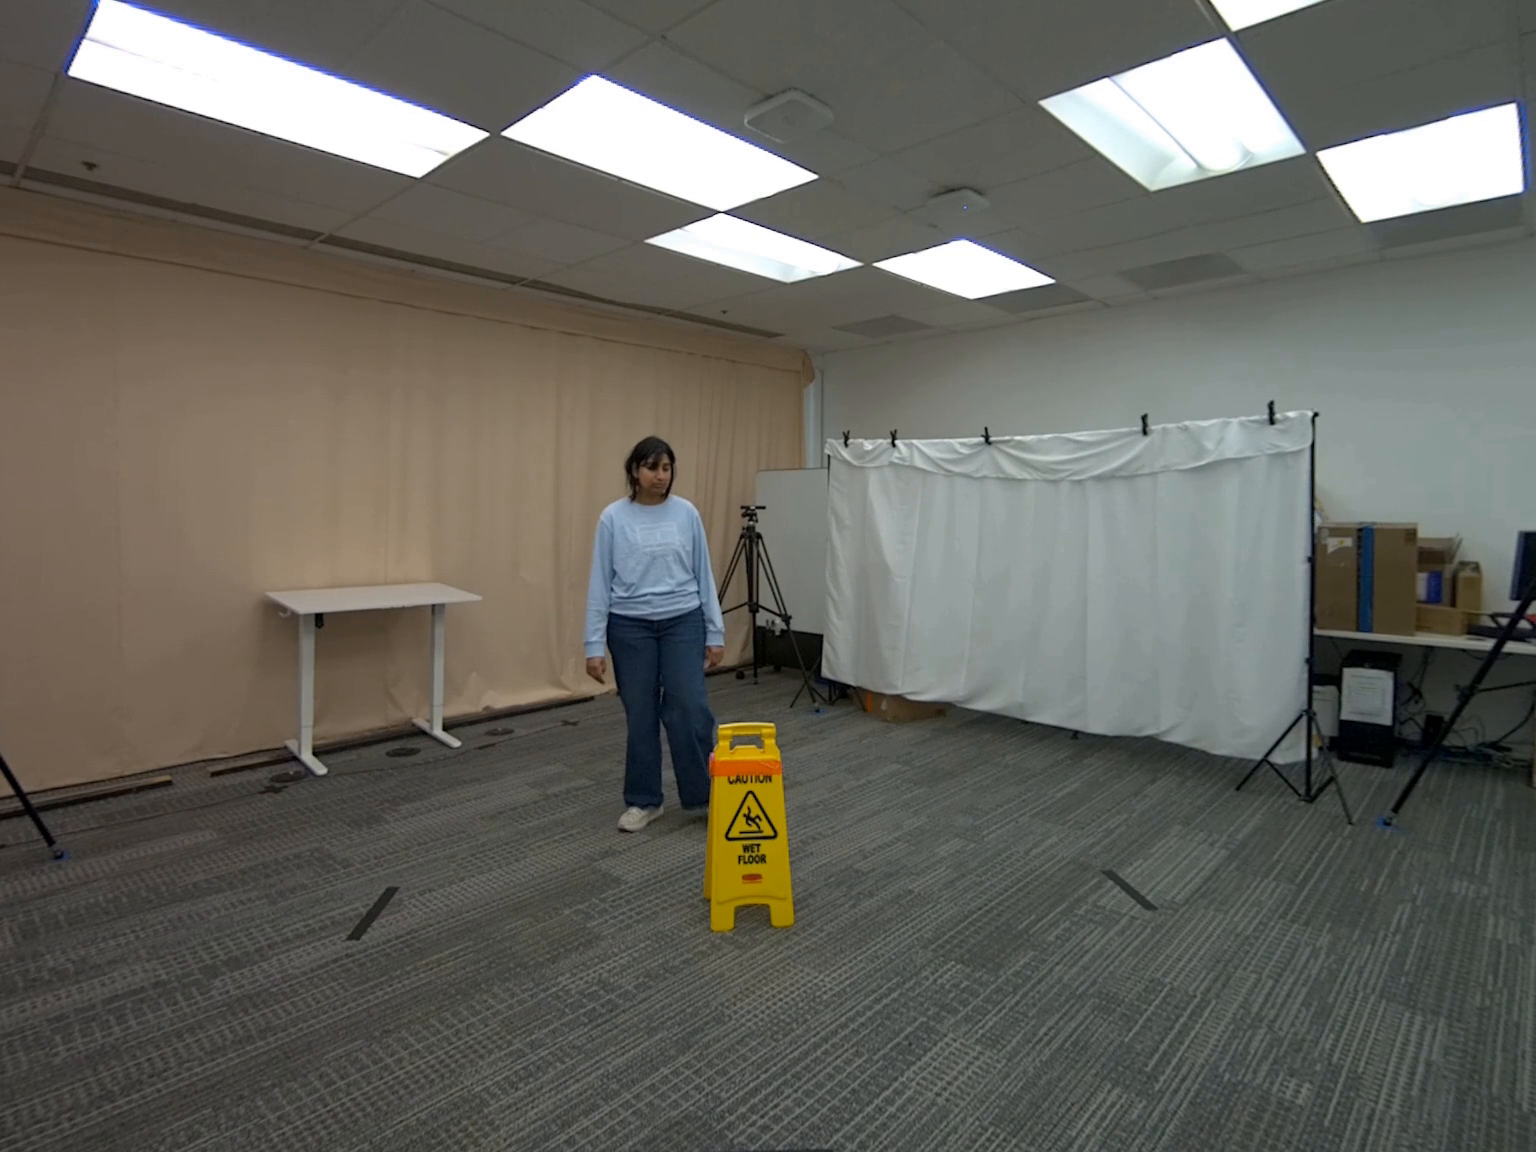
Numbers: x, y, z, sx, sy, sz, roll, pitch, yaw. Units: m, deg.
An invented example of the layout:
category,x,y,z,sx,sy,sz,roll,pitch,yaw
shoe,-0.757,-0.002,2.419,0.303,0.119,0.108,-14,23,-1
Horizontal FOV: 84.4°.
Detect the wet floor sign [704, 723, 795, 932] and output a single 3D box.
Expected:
category,x,y,z,sx,sy,sz,roll,pitch,yaw
wet floor sign,-0.075,0.830,2.871,0.280,0.645,0.292,-1,3,-7
